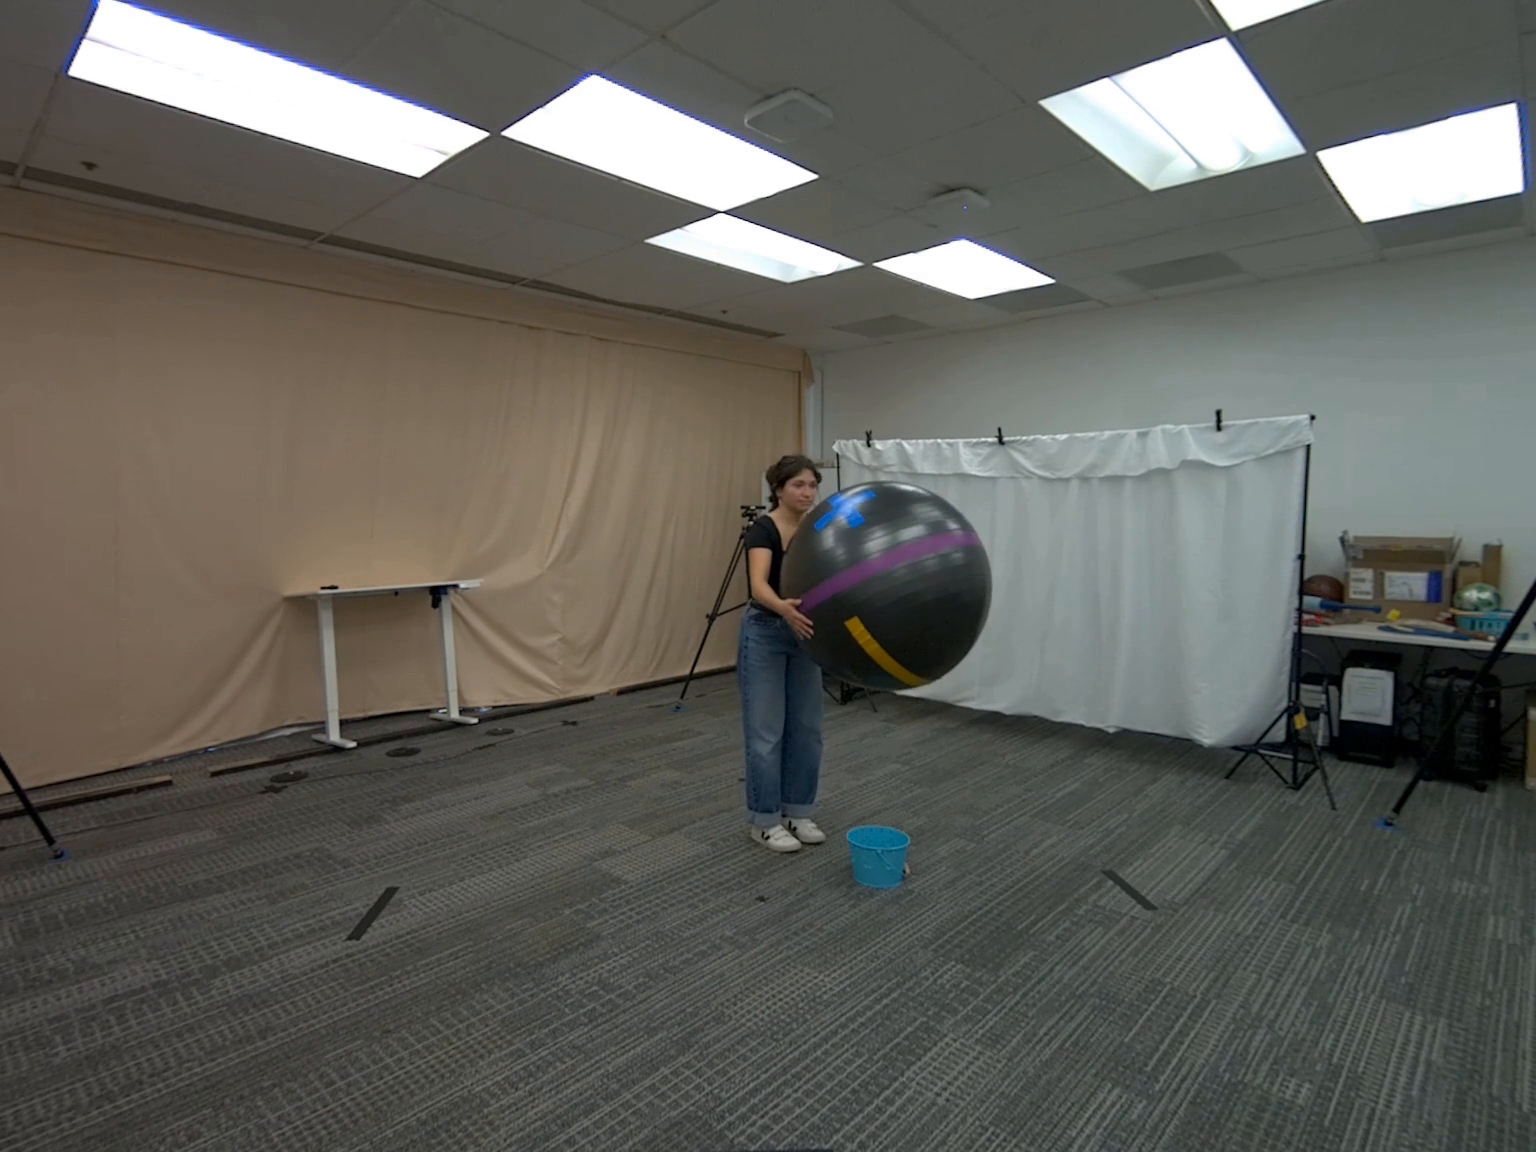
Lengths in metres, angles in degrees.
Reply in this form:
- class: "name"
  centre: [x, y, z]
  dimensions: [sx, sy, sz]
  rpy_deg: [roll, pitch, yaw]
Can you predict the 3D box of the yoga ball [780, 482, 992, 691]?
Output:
- class: "yoga ball"
  centre: [0.425, 0.041, 3.073]
  dimensions: [0.757, 0.756, 0.760]
  rpy_deg: [0, 4, -2]
